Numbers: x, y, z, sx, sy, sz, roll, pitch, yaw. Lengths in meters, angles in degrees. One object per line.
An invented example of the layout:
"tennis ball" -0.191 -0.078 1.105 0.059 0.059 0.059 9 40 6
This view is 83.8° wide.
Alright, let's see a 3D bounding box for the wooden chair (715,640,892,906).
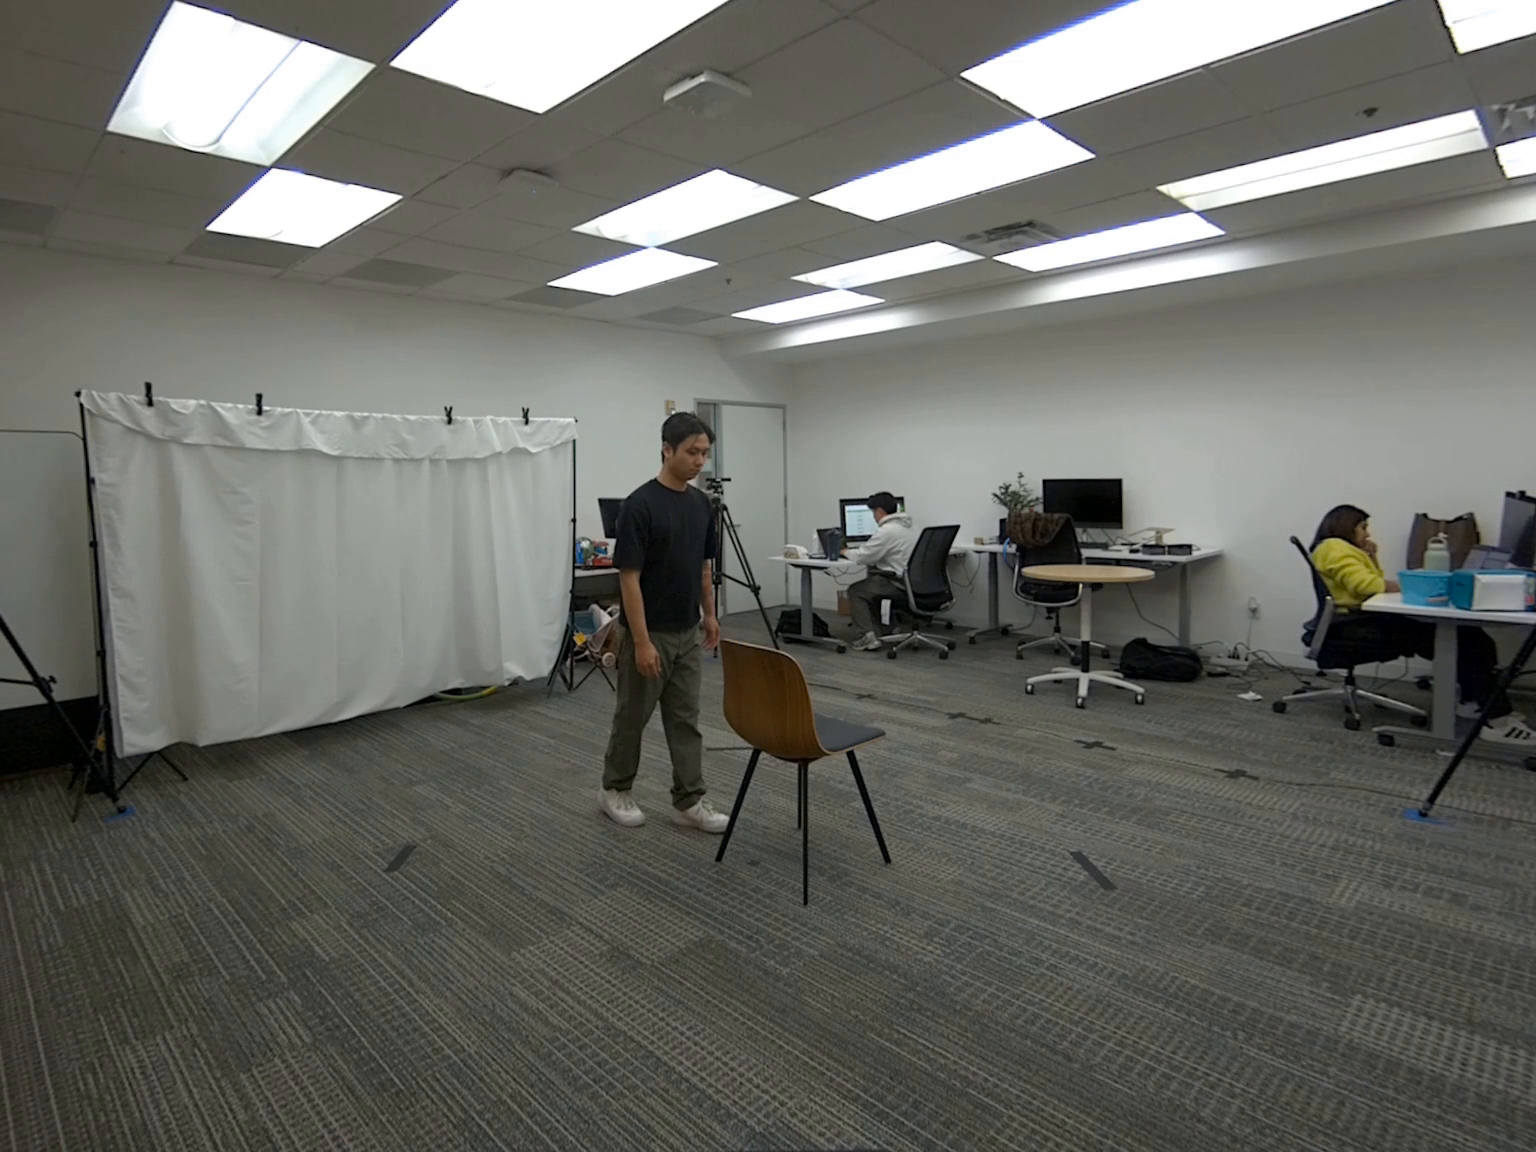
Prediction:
"wooden chair" 0.128 0.617 3.069 0.511 0.872 0.493 -10 9 -42
